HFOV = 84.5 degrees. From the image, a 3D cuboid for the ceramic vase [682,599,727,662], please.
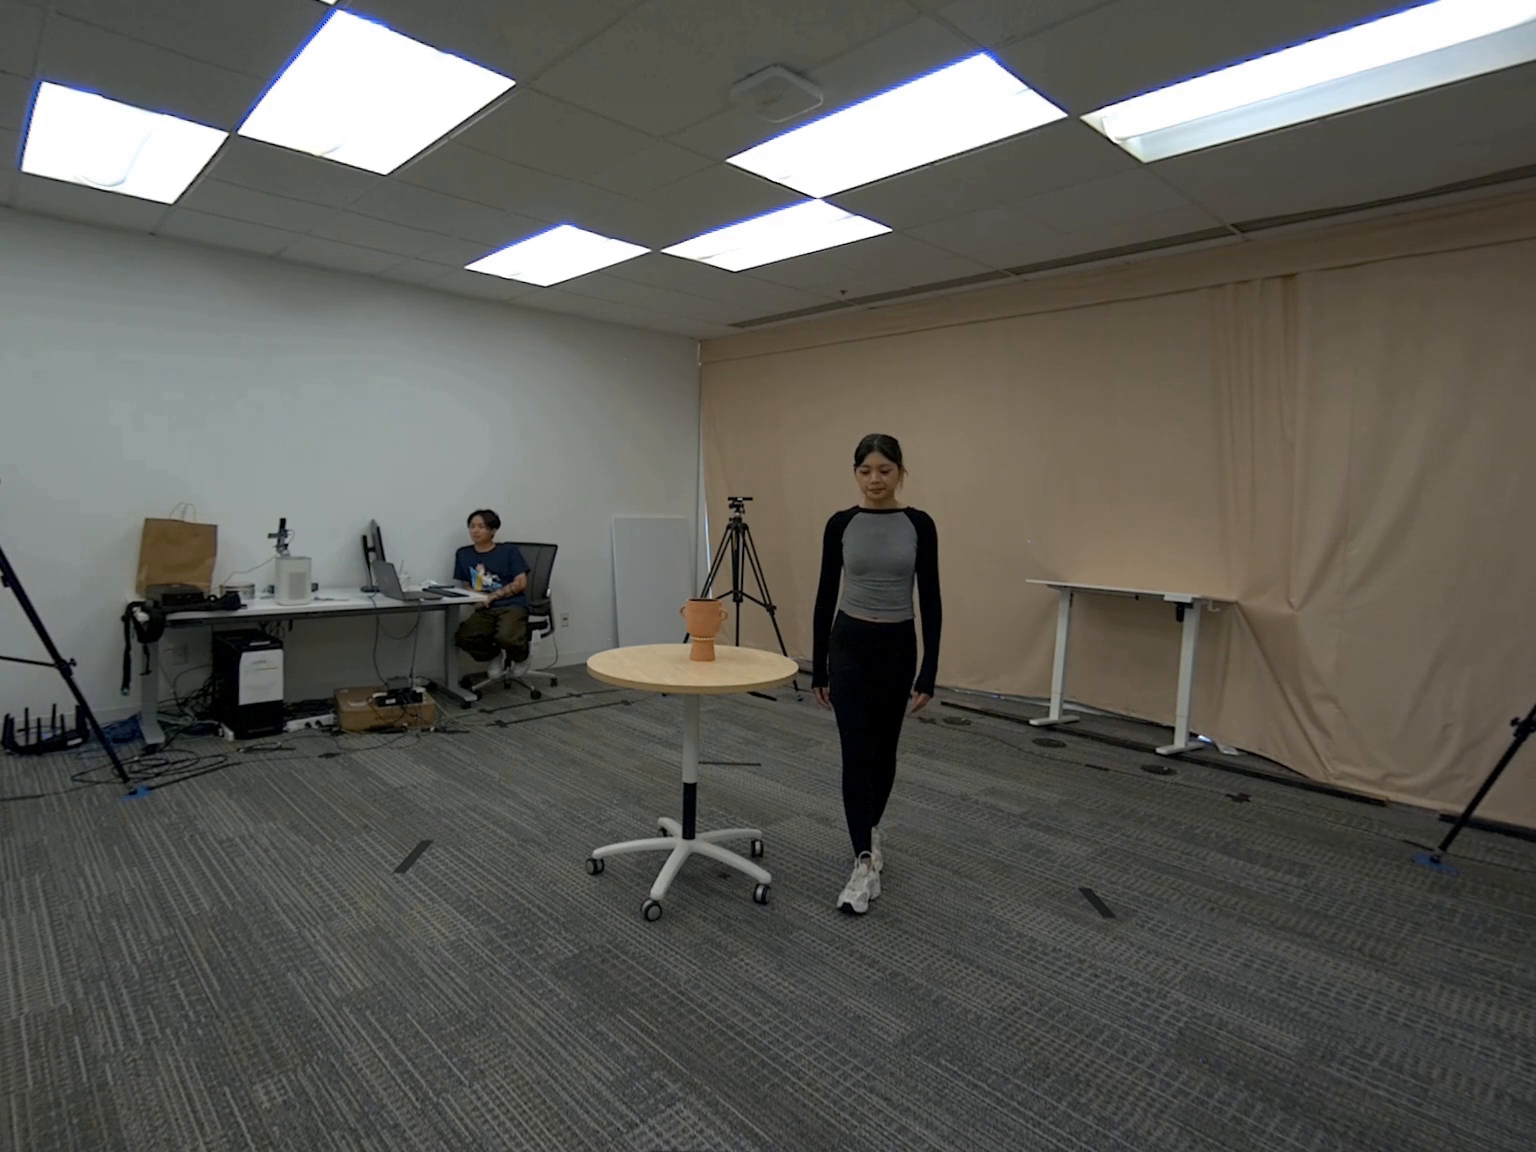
[{"bbox_3d":[-0.243,0.200,3.127,0.132,0.219,0.162,0,4,-29],"label":"ceramic vase"}]
